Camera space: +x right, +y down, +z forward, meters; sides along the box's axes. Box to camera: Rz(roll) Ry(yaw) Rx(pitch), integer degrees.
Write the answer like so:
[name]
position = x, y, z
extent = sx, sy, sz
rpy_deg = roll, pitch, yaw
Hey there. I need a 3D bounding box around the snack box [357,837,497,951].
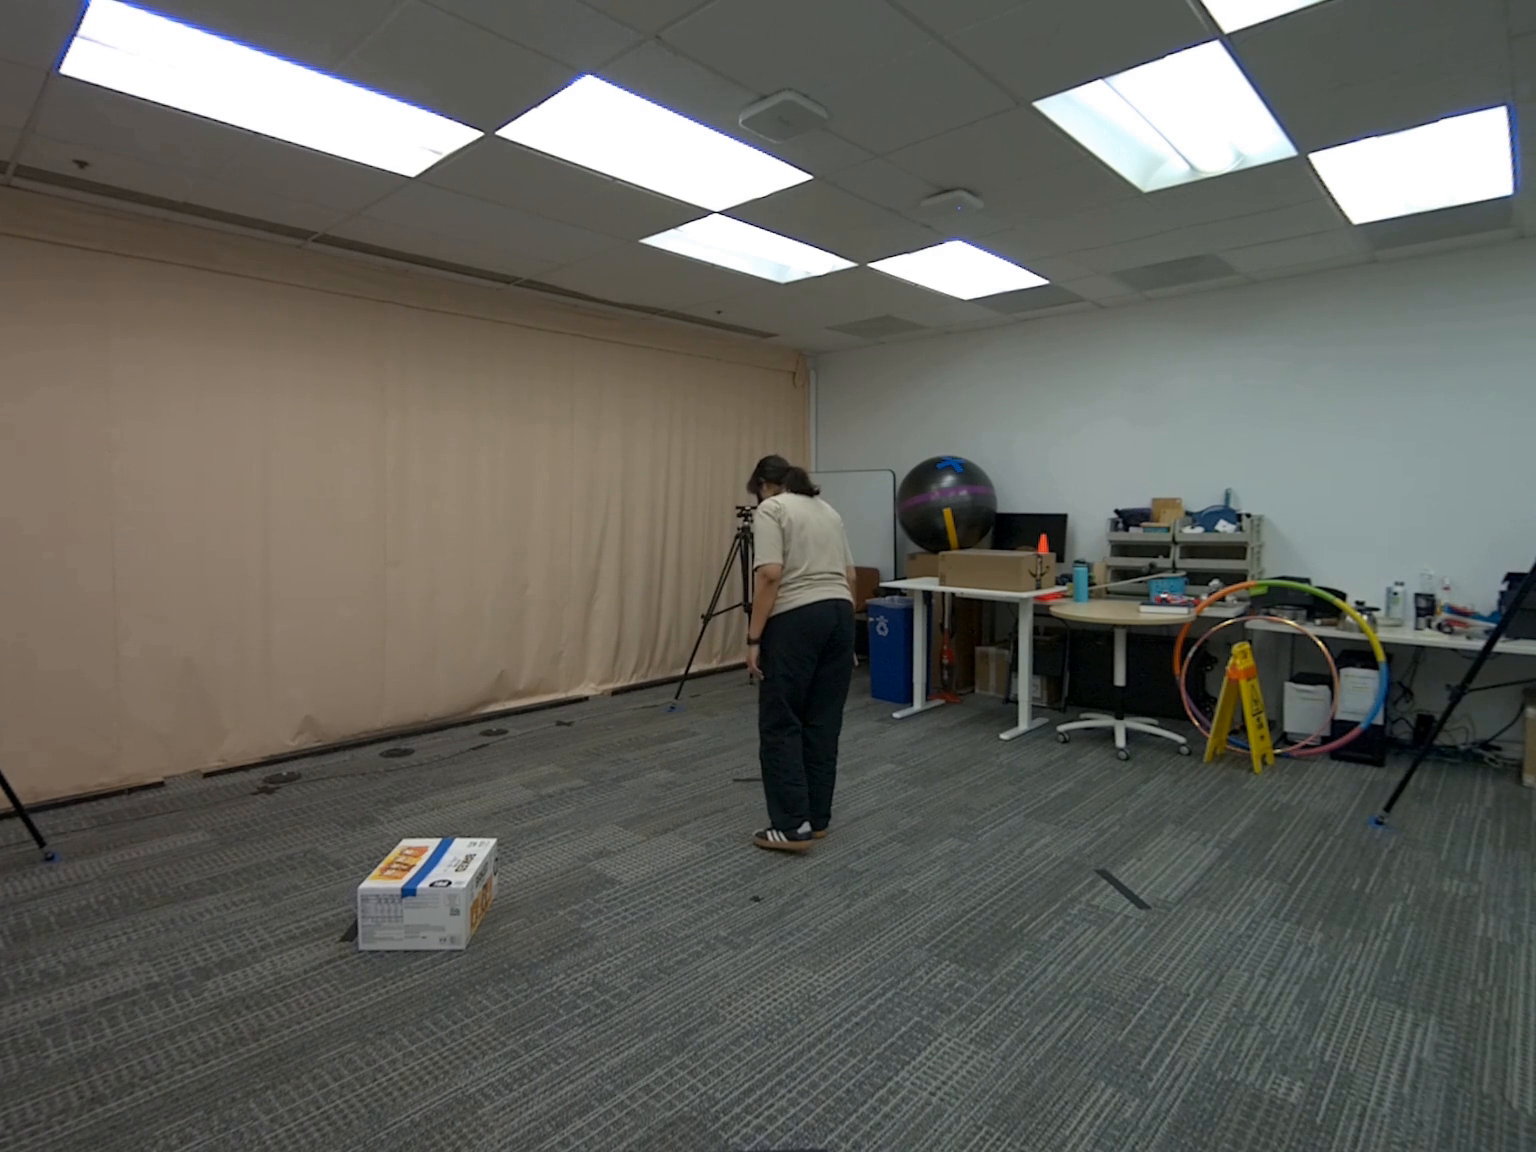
[snack box]
position = -1.136, 1.071, 2.840
extent = 0.340, 0.205, 0.406
rpy_deg = -1, 4, -2
